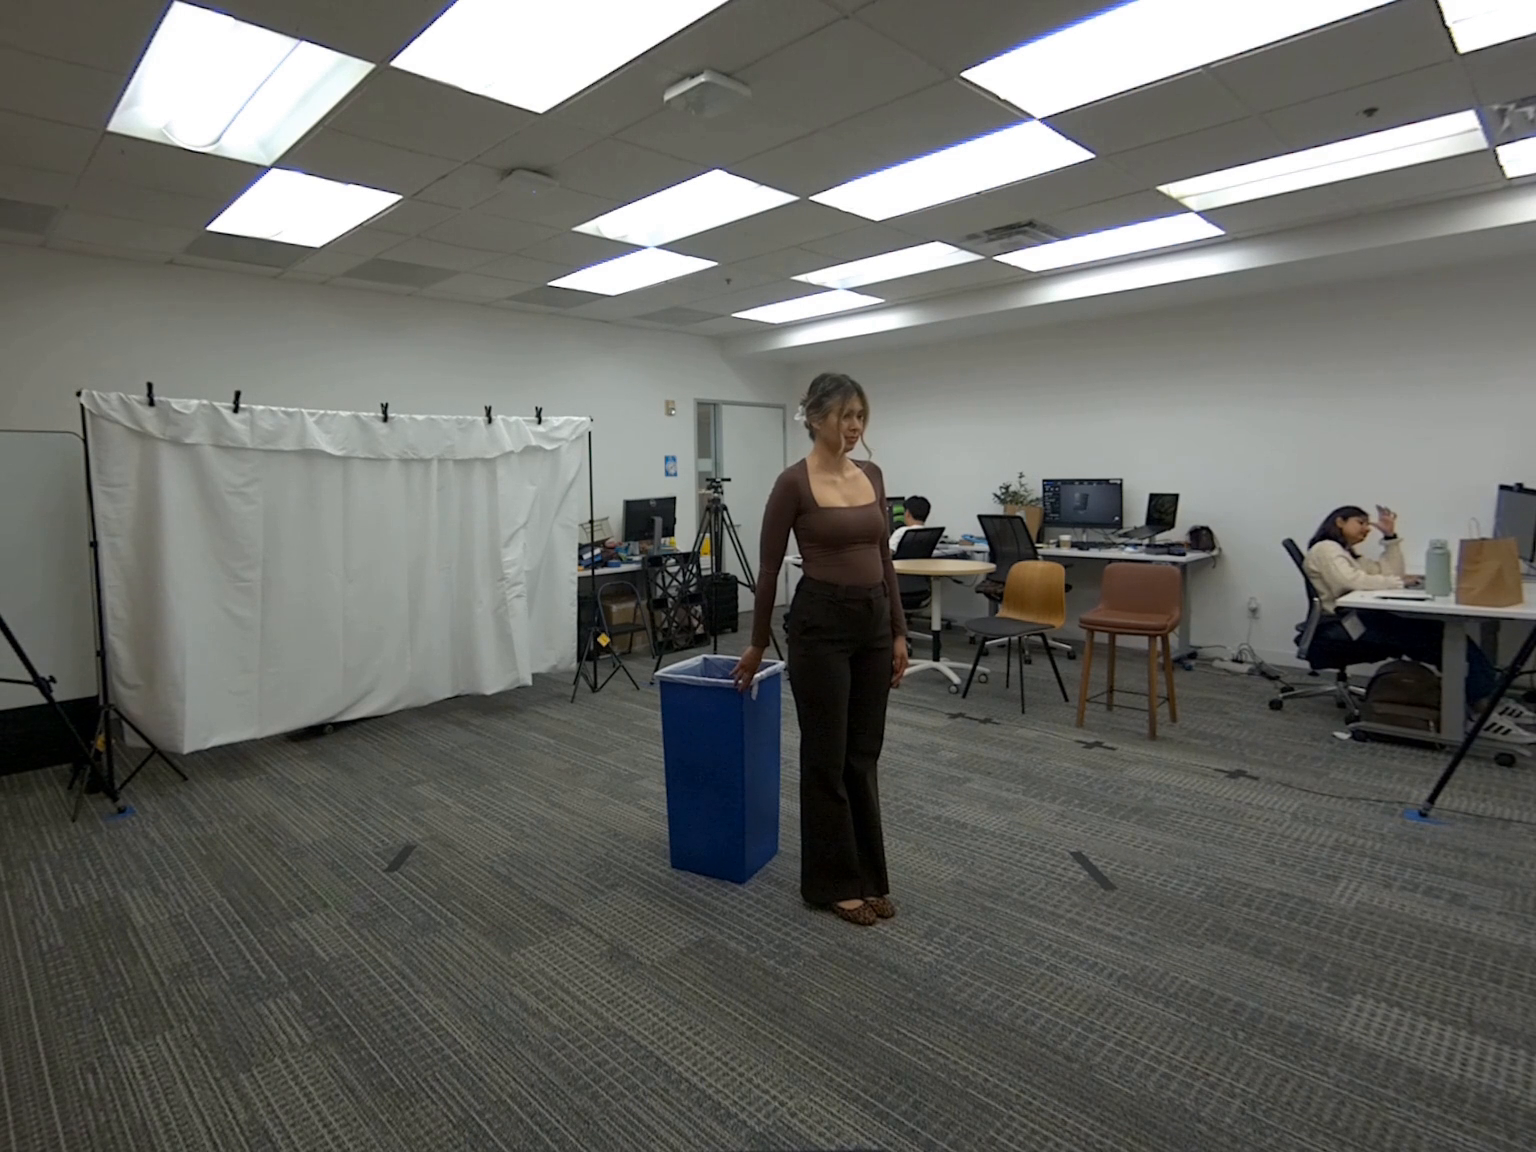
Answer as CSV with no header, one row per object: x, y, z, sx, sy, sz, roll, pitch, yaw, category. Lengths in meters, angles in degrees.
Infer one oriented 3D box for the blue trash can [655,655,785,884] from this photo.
-0.157,0.683,3.115,0.387,0.712,0.366,1,3,26,blue trash can
